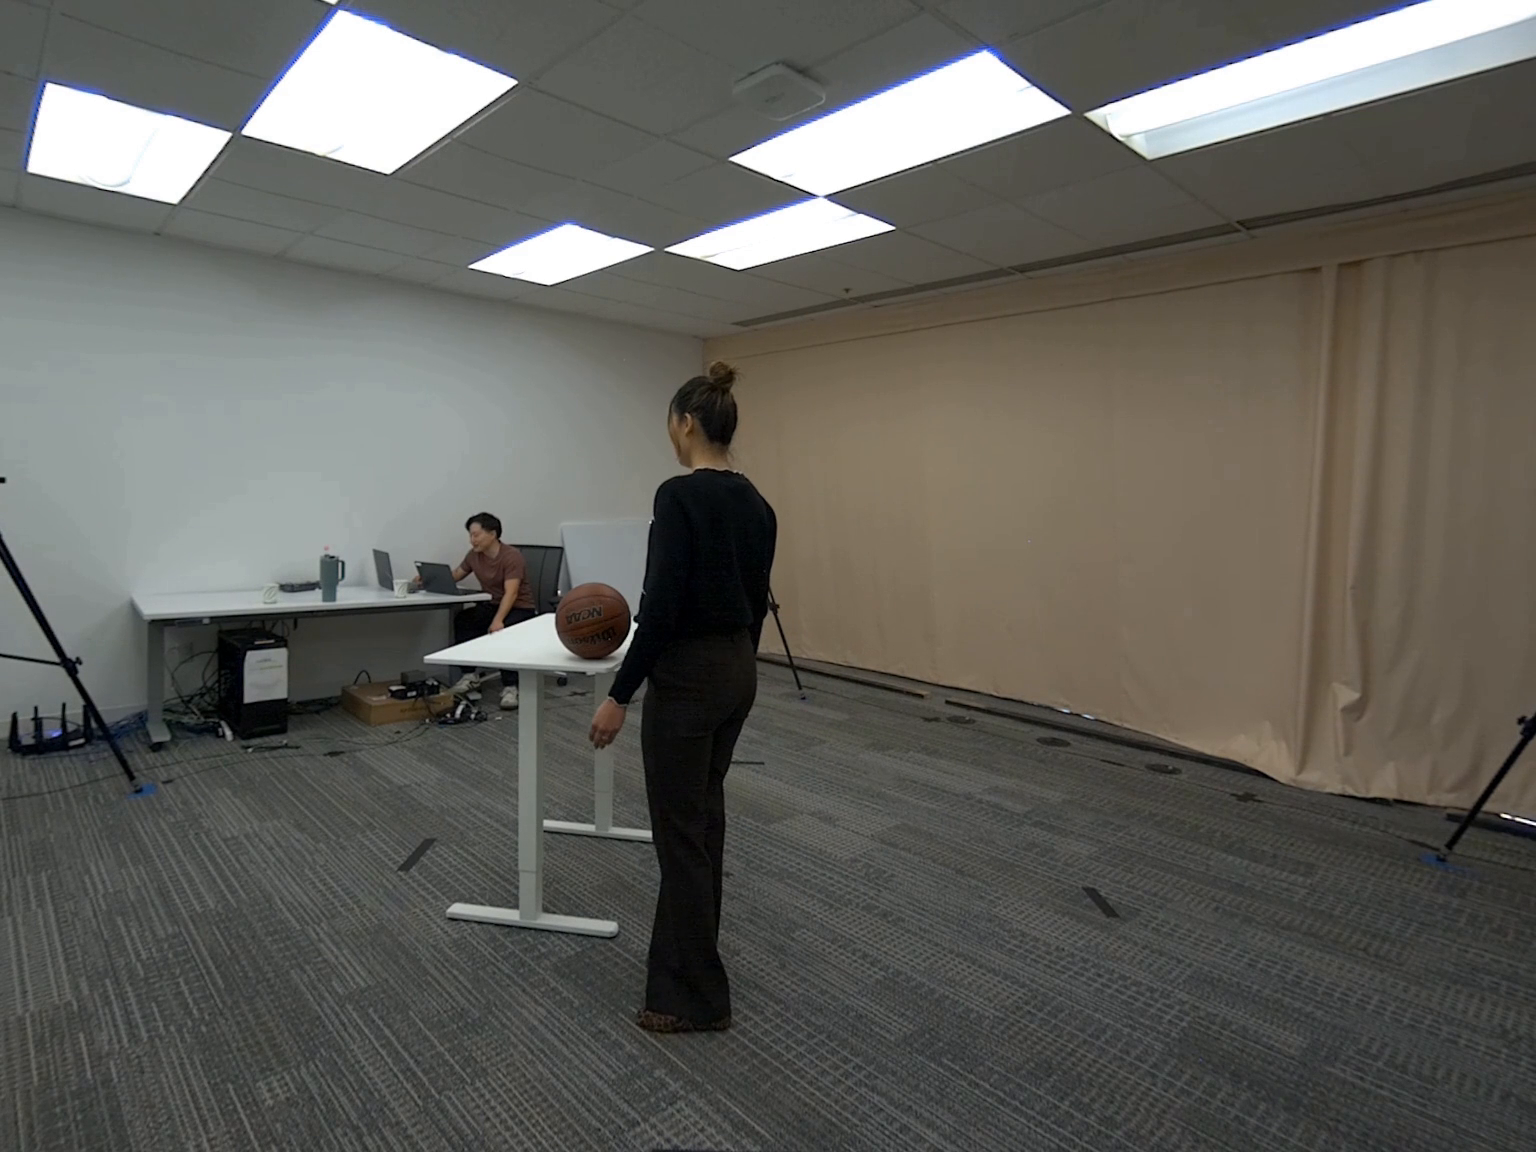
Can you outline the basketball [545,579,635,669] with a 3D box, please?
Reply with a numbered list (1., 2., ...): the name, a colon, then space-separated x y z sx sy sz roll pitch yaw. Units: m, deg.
1. basketball: -0.547 0.142 2.618 0.236 0.235 0.237 1 4 -1
